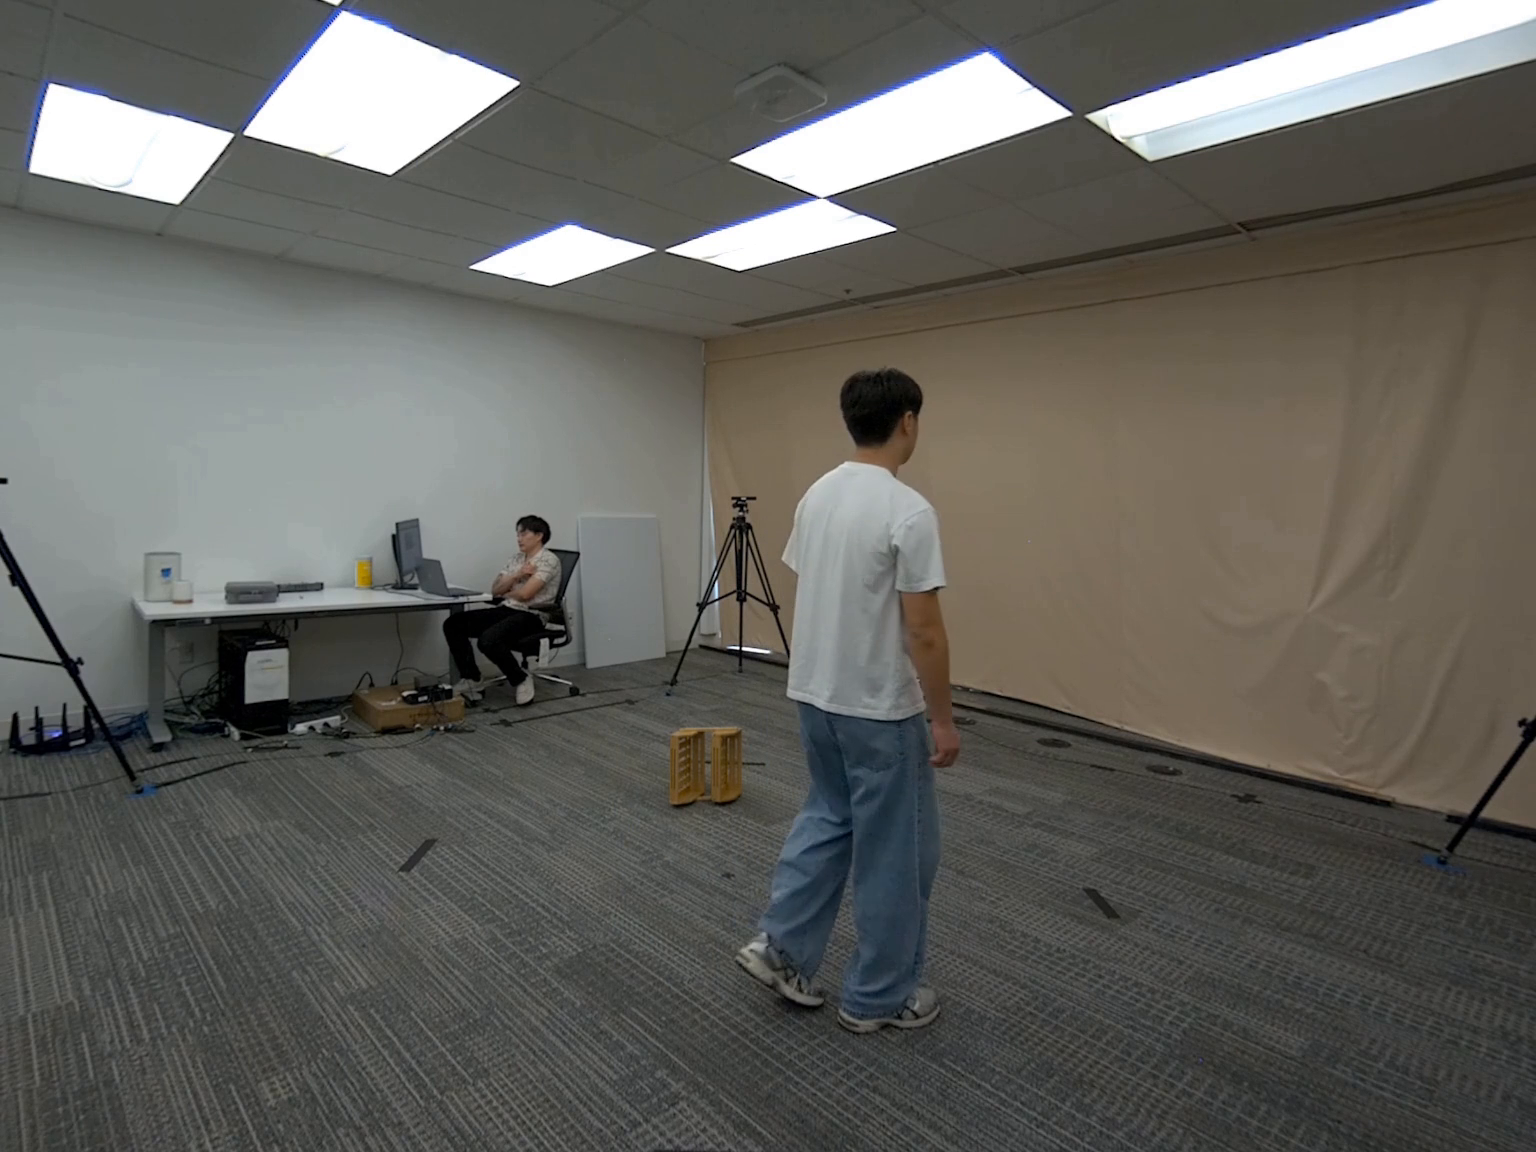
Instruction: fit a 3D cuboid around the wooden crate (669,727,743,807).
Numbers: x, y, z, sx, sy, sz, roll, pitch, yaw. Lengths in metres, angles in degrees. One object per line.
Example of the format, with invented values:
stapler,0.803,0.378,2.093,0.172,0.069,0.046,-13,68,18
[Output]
wooden crate,-0.288,0.868,3.872,0.277,0.325,0.298,0,-2,15
